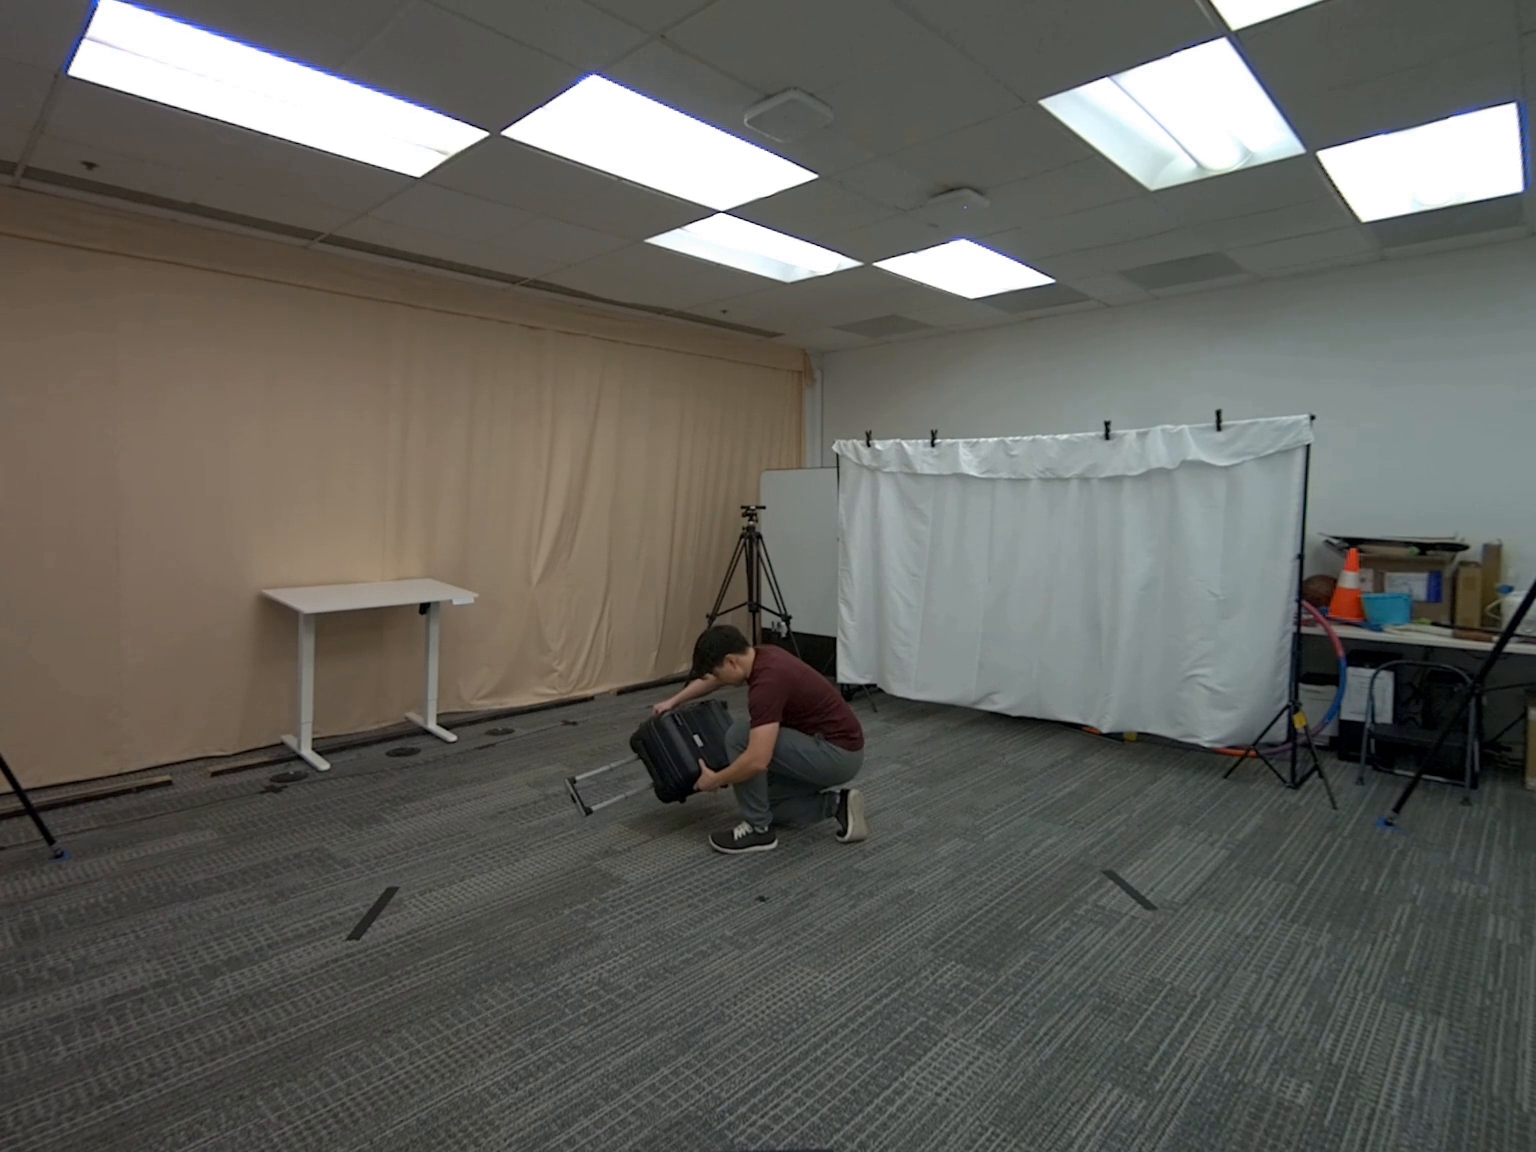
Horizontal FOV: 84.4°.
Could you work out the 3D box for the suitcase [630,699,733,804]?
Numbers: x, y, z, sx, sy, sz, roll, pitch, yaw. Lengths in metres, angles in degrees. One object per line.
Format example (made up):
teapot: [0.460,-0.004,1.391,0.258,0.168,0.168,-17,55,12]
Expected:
suitcase: [-0.423,0.764,3.561,0.259,0.391,0.951,-39,-18,21]
